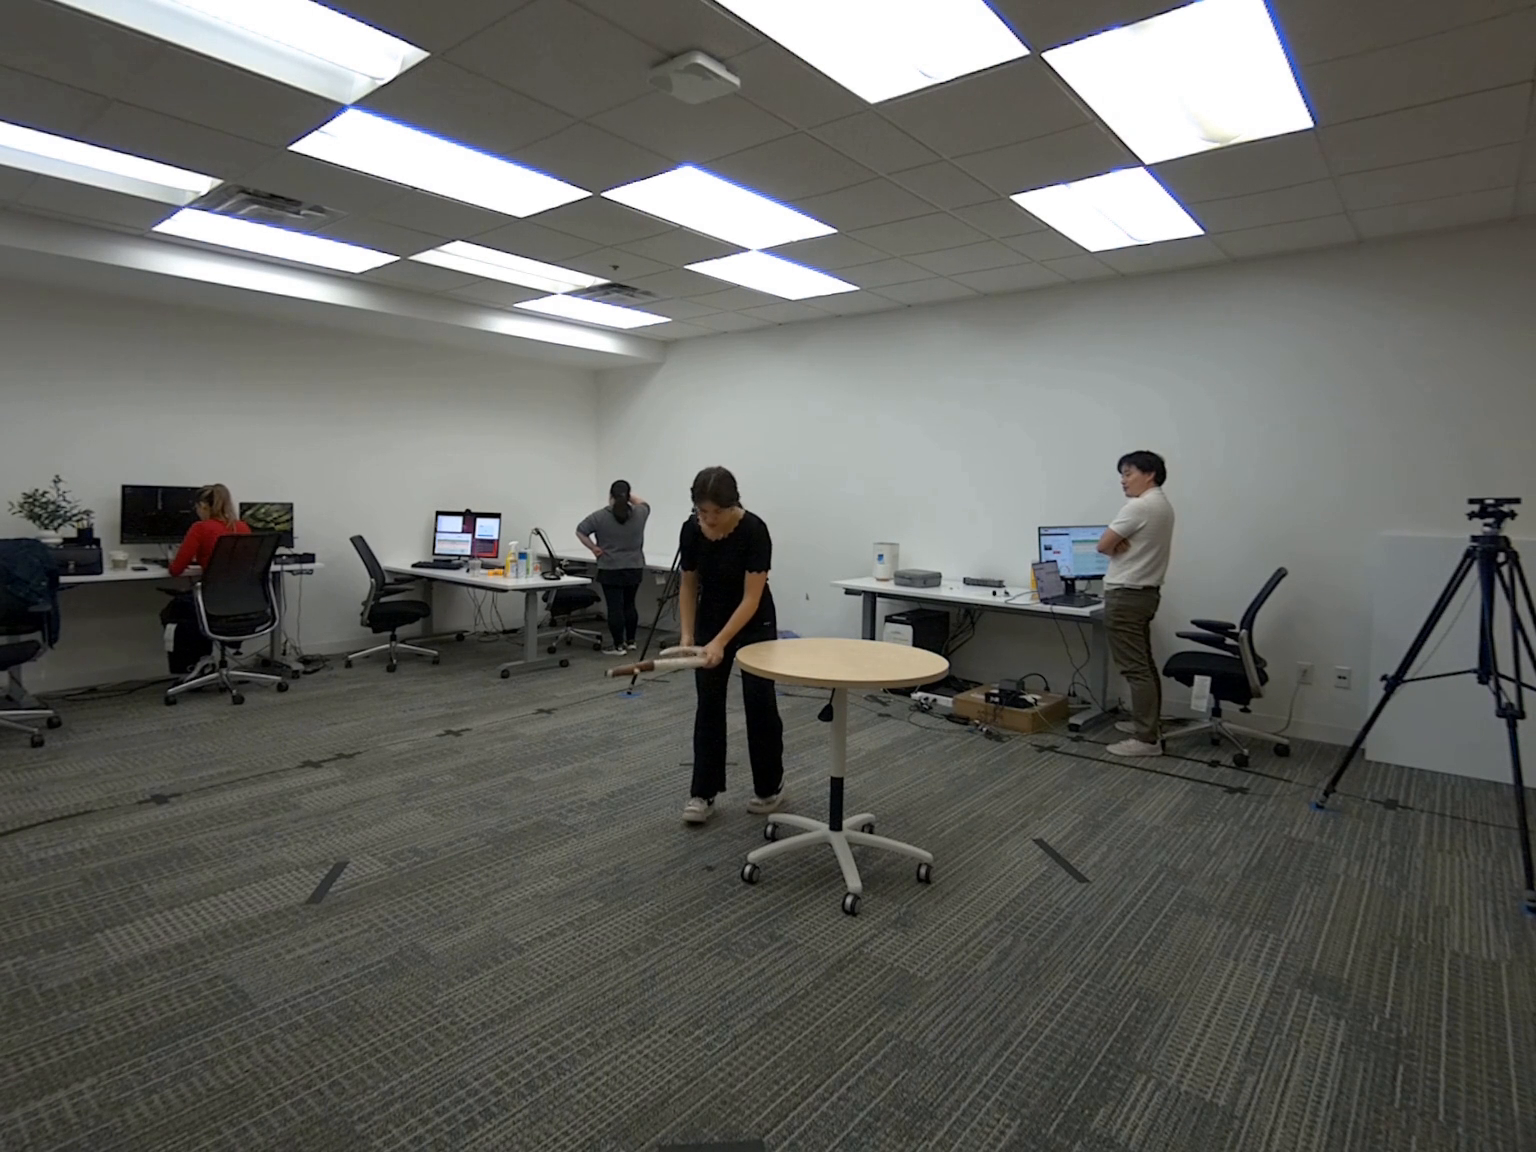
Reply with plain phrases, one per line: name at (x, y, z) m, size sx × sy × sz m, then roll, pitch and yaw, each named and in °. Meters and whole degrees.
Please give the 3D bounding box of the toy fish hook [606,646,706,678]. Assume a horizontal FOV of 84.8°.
toy fish hook at (-0.419, 0.339, 3.297) m, size 0.492 × 0.048 × 0.232 m, roll -6°, pitch 7°, yaw -37°
